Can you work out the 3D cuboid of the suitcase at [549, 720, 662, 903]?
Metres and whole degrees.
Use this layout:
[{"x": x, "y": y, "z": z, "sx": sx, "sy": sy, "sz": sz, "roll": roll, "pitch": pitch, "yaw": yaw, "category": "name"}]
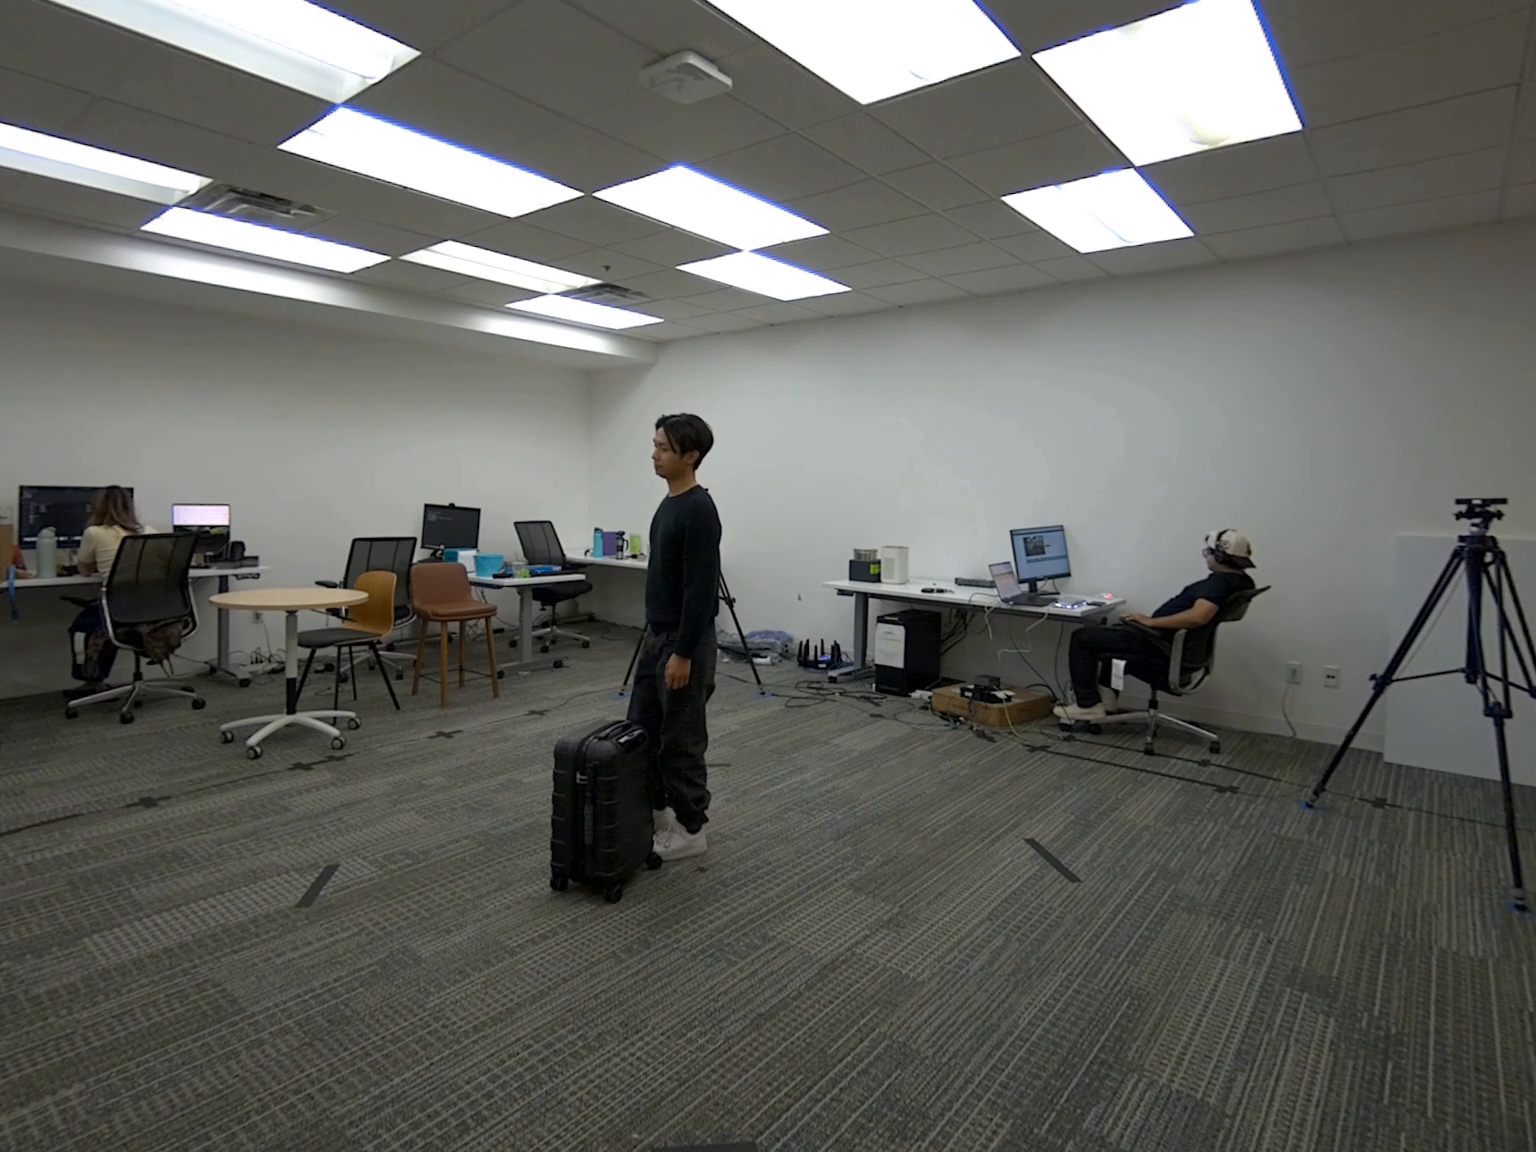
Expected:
[{"x": -0.593, "y": 0.801, "z": 2.994, "sx": 0.254, "sy": 0.547, "sz": 0.369, "roll": 1, "pitch": 4, "yaw": 20, "category": "suitcase"}]
